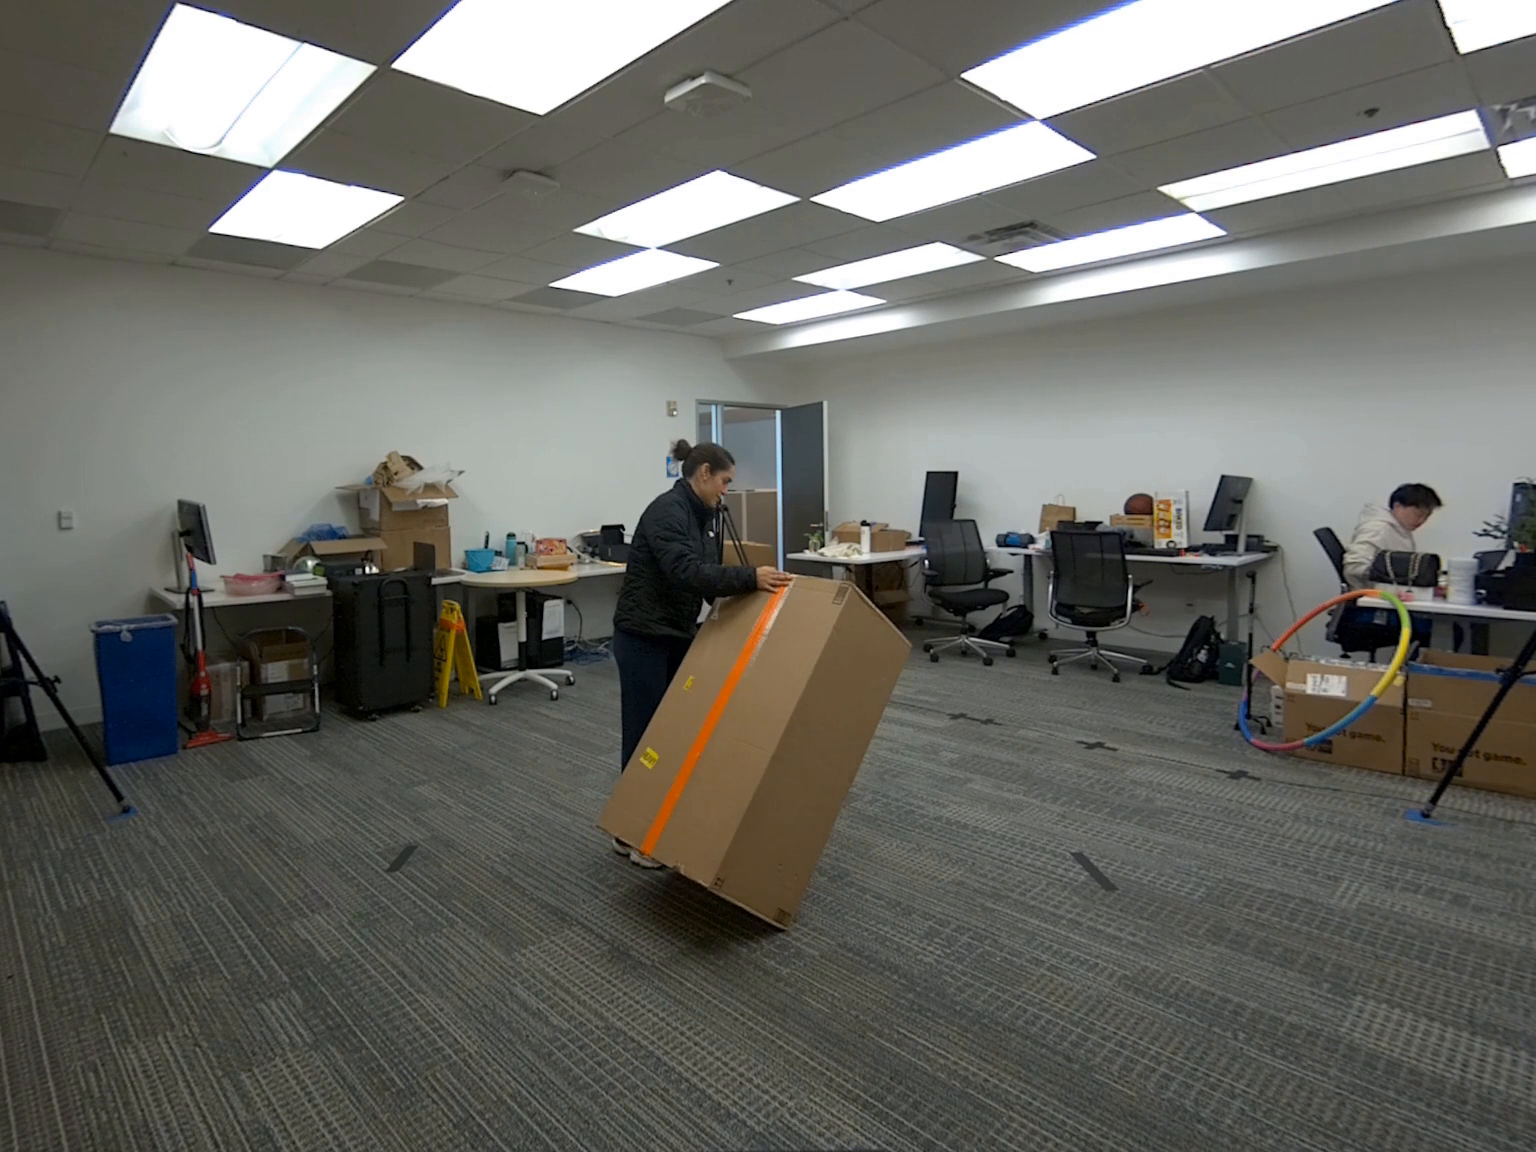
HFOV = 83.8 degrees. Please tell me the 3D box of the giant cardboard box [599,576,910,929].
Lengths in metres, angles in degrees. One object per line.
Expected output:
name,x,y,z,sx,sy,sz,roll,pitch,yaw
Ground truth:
giant cardboard box,-0.034,0.532,2.906,0.596,1.033,0.410,5,-29,45
